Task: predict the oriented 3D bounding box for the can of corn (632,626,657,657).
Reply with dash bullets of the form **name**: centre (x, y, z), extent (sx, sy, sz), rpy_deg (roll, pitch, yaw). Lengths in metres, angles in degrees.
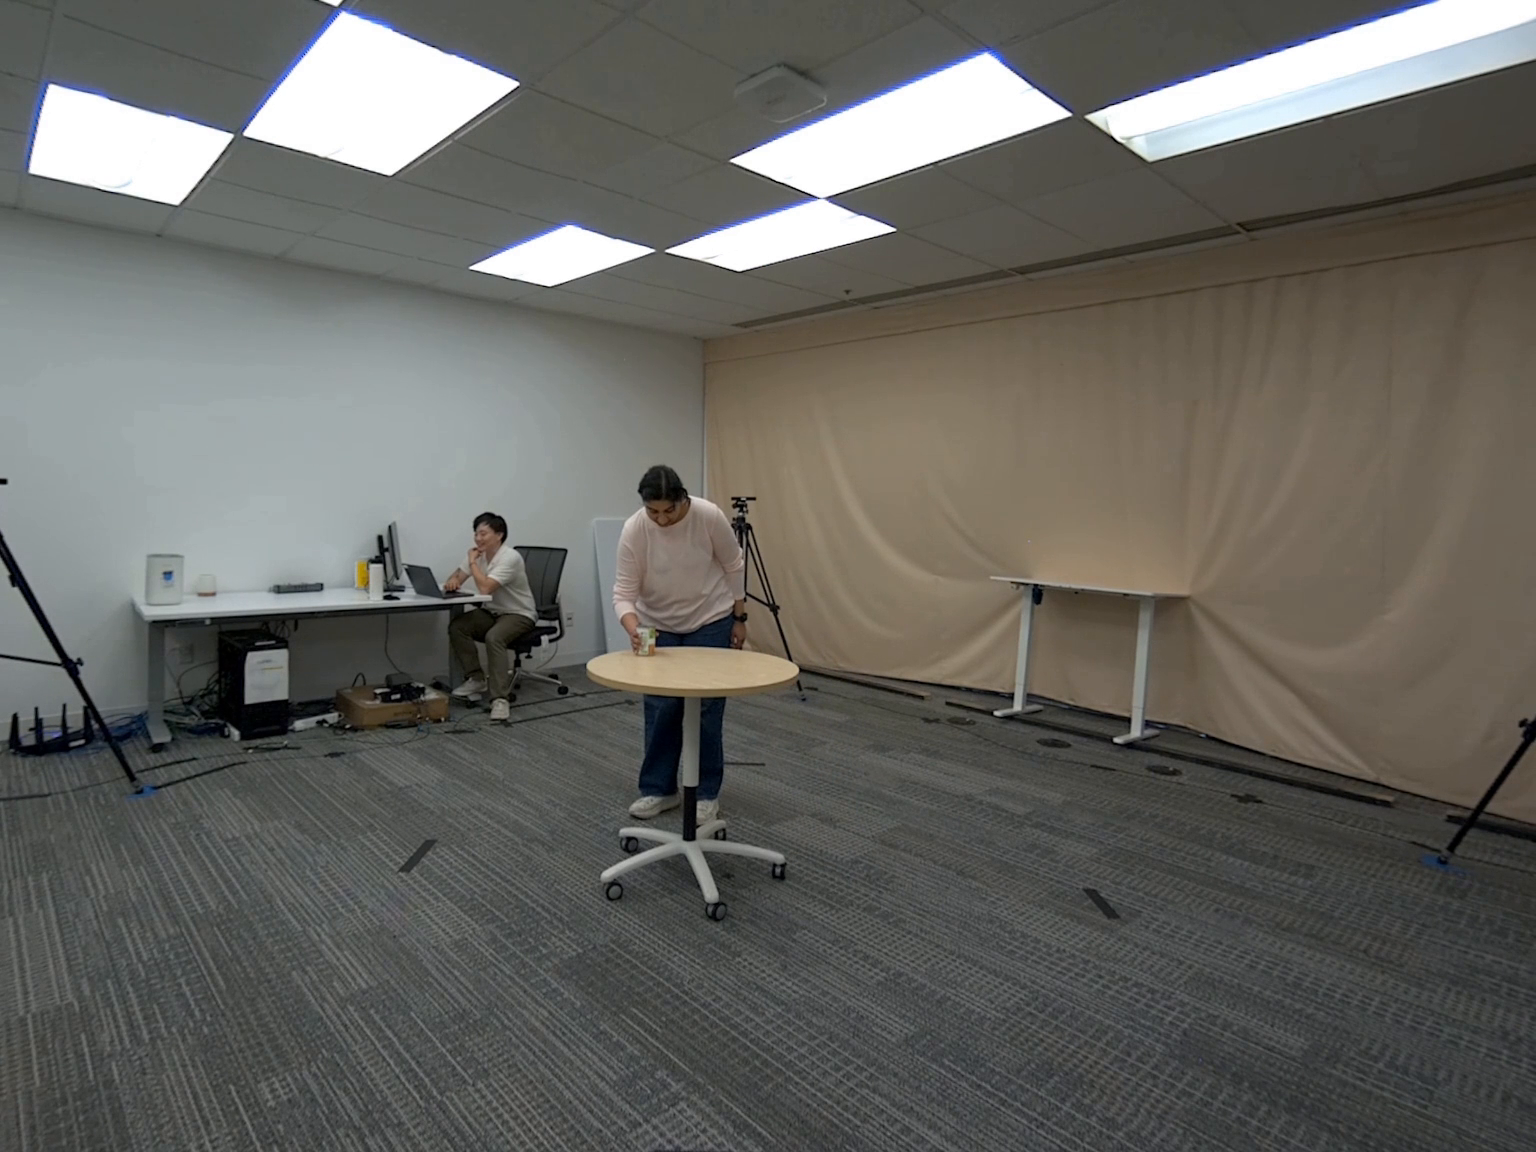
- **can of corn**: centre (-0.492, 0.251, 3.227), extent (0.074, 0.111, 0.074), rpy_deg (0, -1, -1)
